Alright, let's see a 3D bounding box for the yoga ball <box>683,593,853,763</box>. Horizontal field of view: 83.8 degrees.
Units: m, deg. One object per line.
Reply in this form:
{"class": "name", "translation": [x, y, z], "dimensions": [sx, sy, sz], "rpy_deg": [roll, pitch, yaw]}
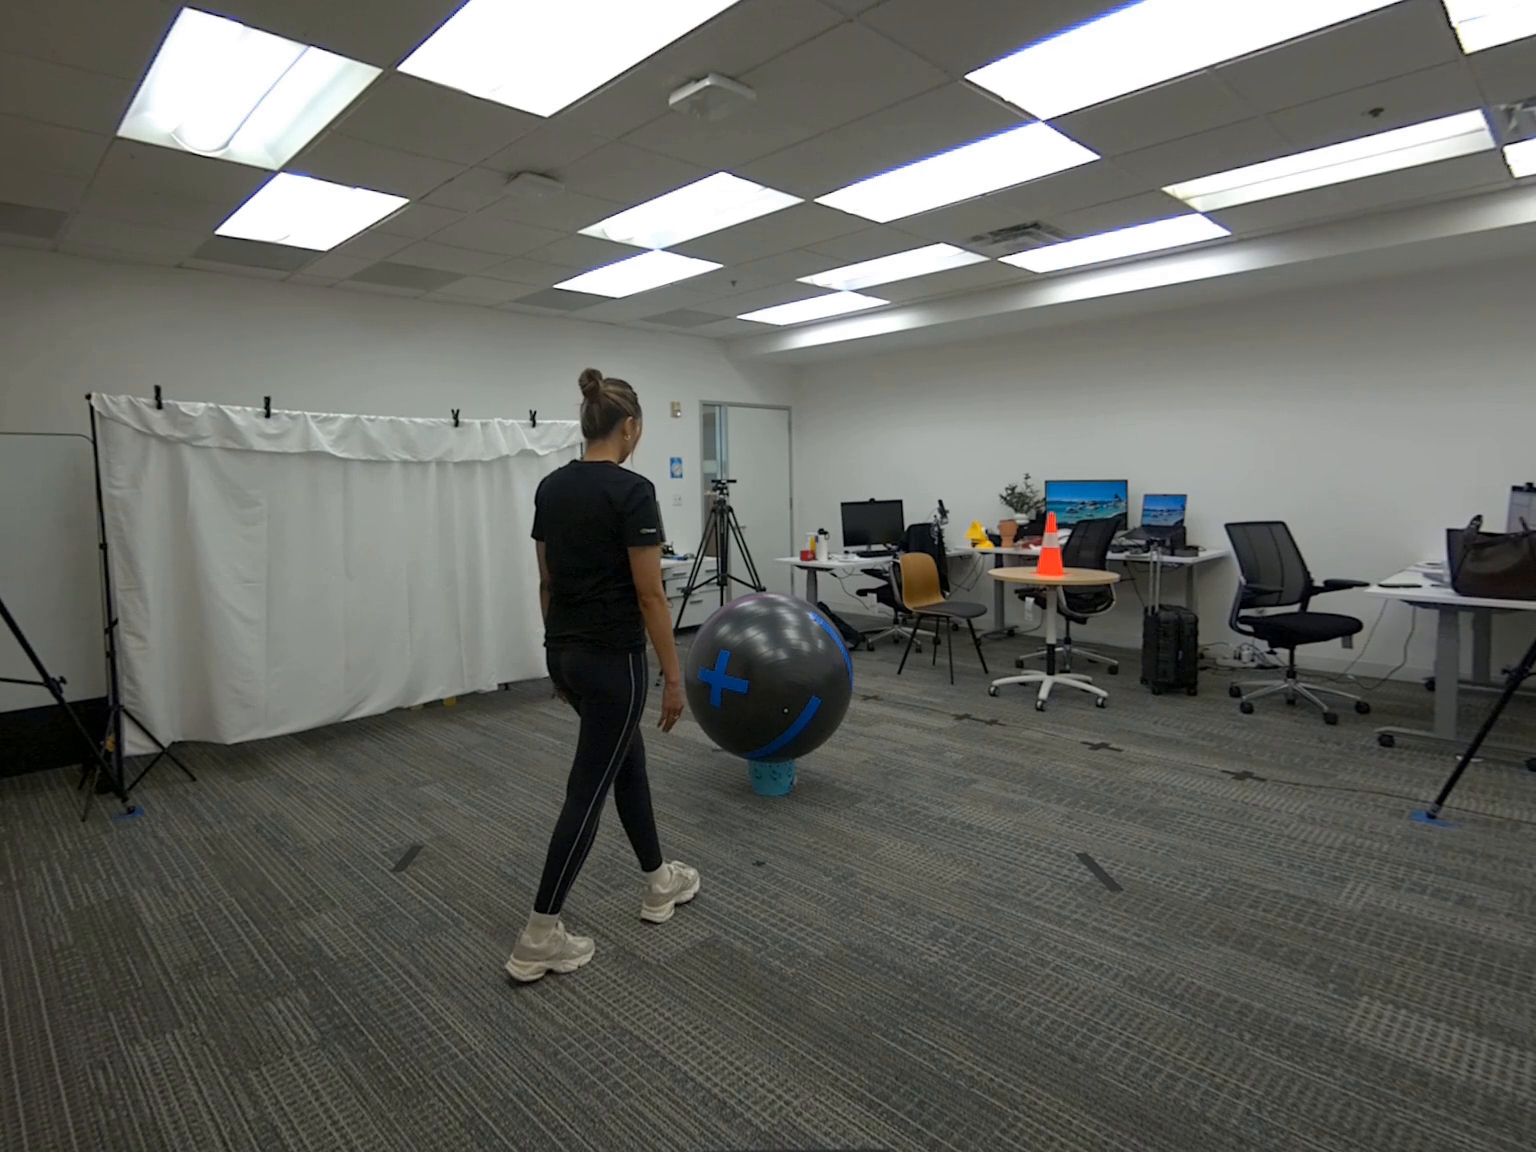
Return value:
{"class": "yoga ball", "translation": [0.001, 0.454, 3.851], "dimensions": [0.757, 0.755, 0.762], "rpy_deg": [-1, 5, -2]}
